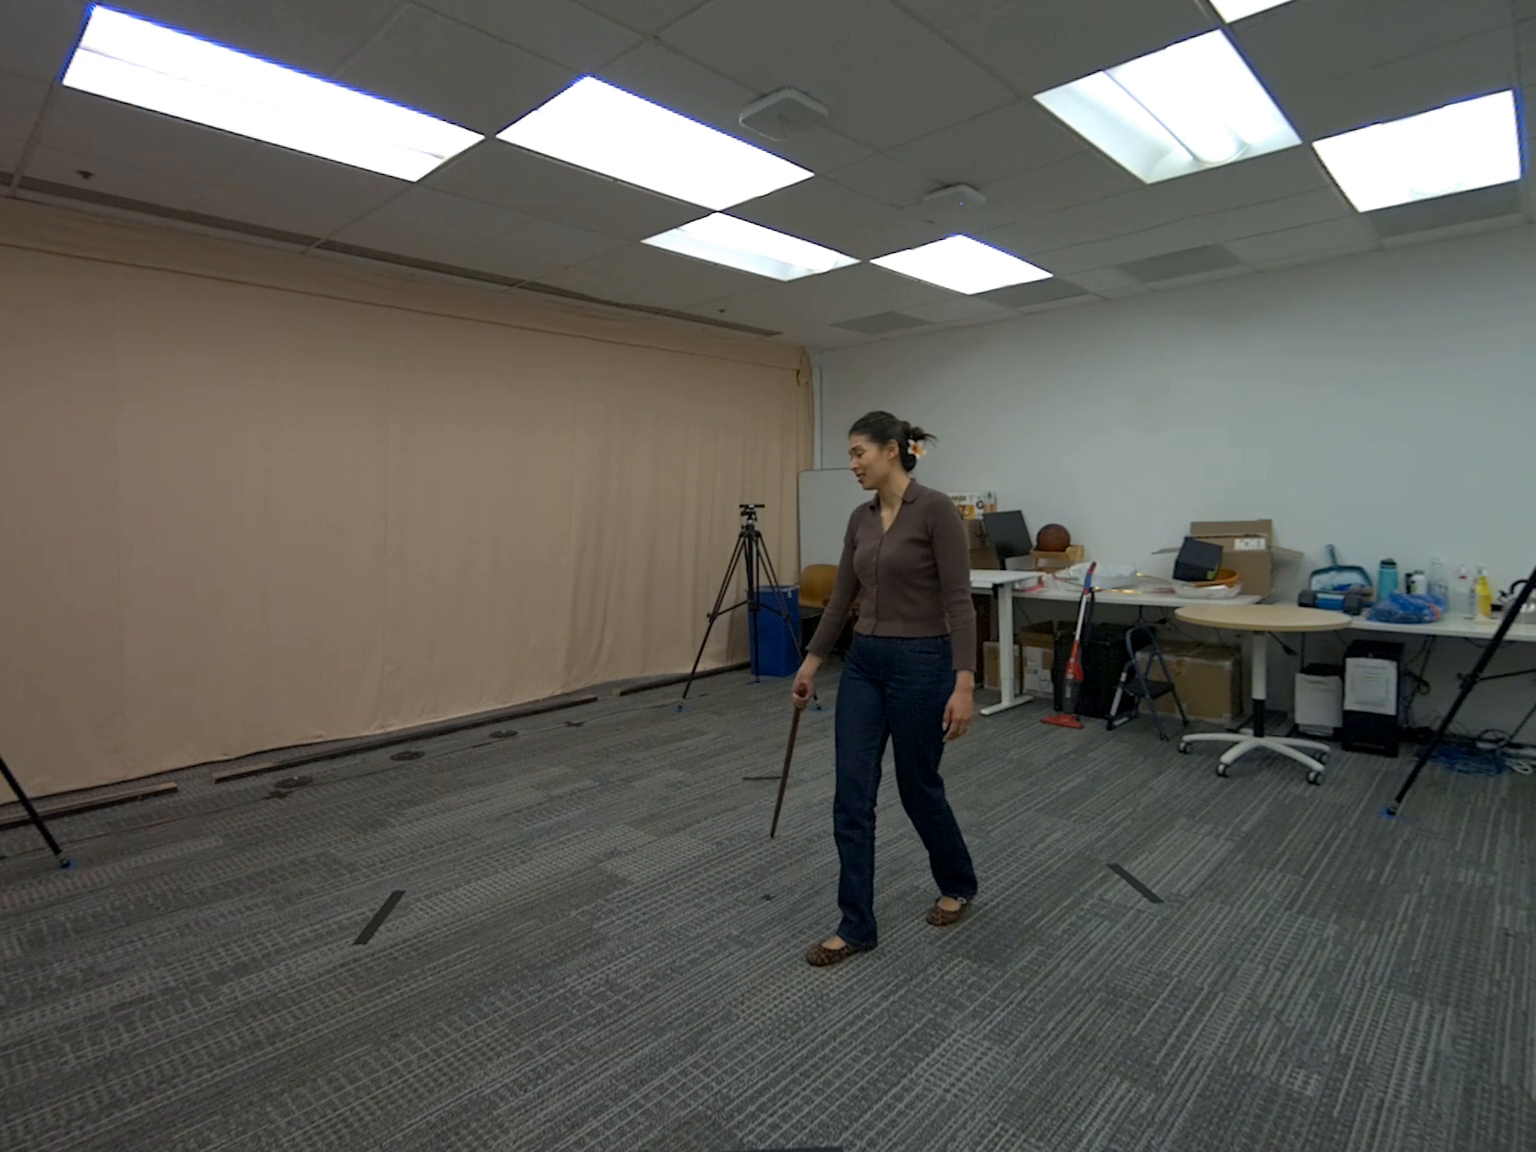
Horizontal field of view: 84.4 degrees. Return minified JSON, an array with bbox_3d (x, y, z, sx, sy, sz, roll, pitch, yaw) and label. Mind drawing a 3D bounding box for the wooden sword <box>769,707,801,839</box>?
[{"bbox_3d":[0.059,0.727,3.192,0.023,1.009,0.053,-19,49,-26],"label":"wooden sword"}]
